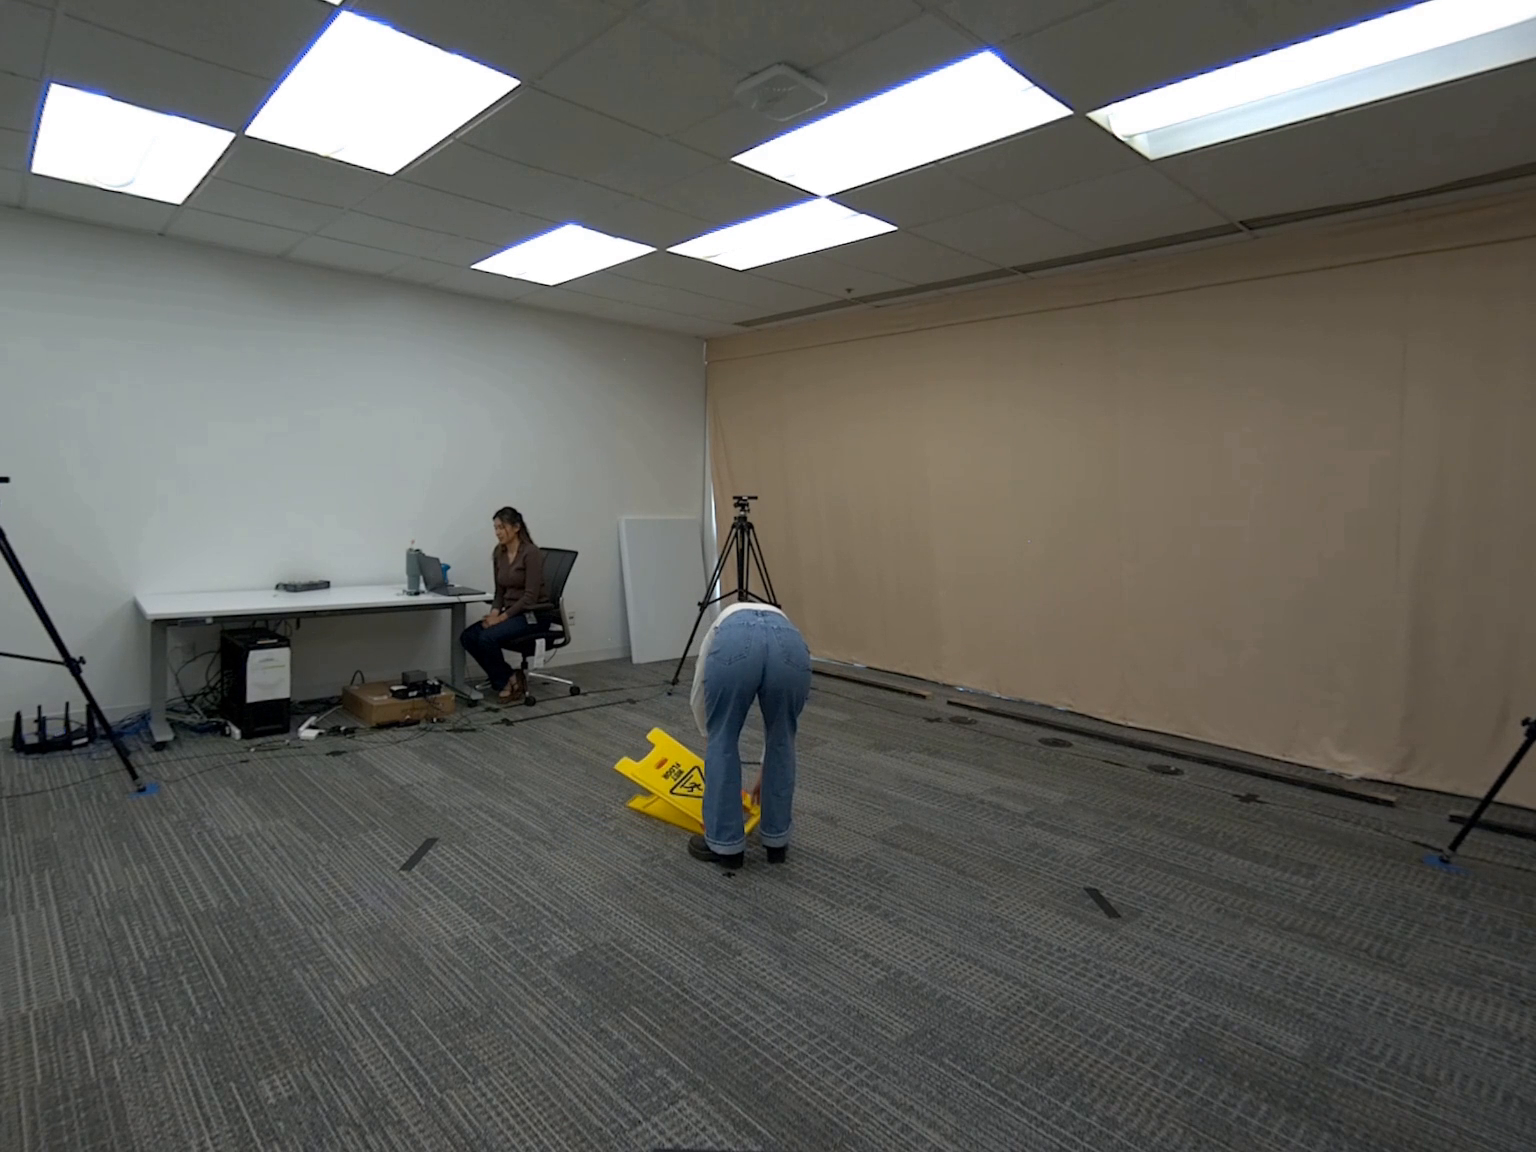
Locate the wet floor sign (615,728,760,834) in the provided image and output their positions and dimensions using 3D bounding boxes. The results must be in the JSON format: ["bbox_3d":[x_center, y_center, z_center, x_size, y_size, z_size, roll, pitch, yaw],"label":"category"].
[{"bbox_3d":[-0.330,0.948,3.609,0.664,0.283,0.280,18,41,37],"label":"wet floor sign"}]
